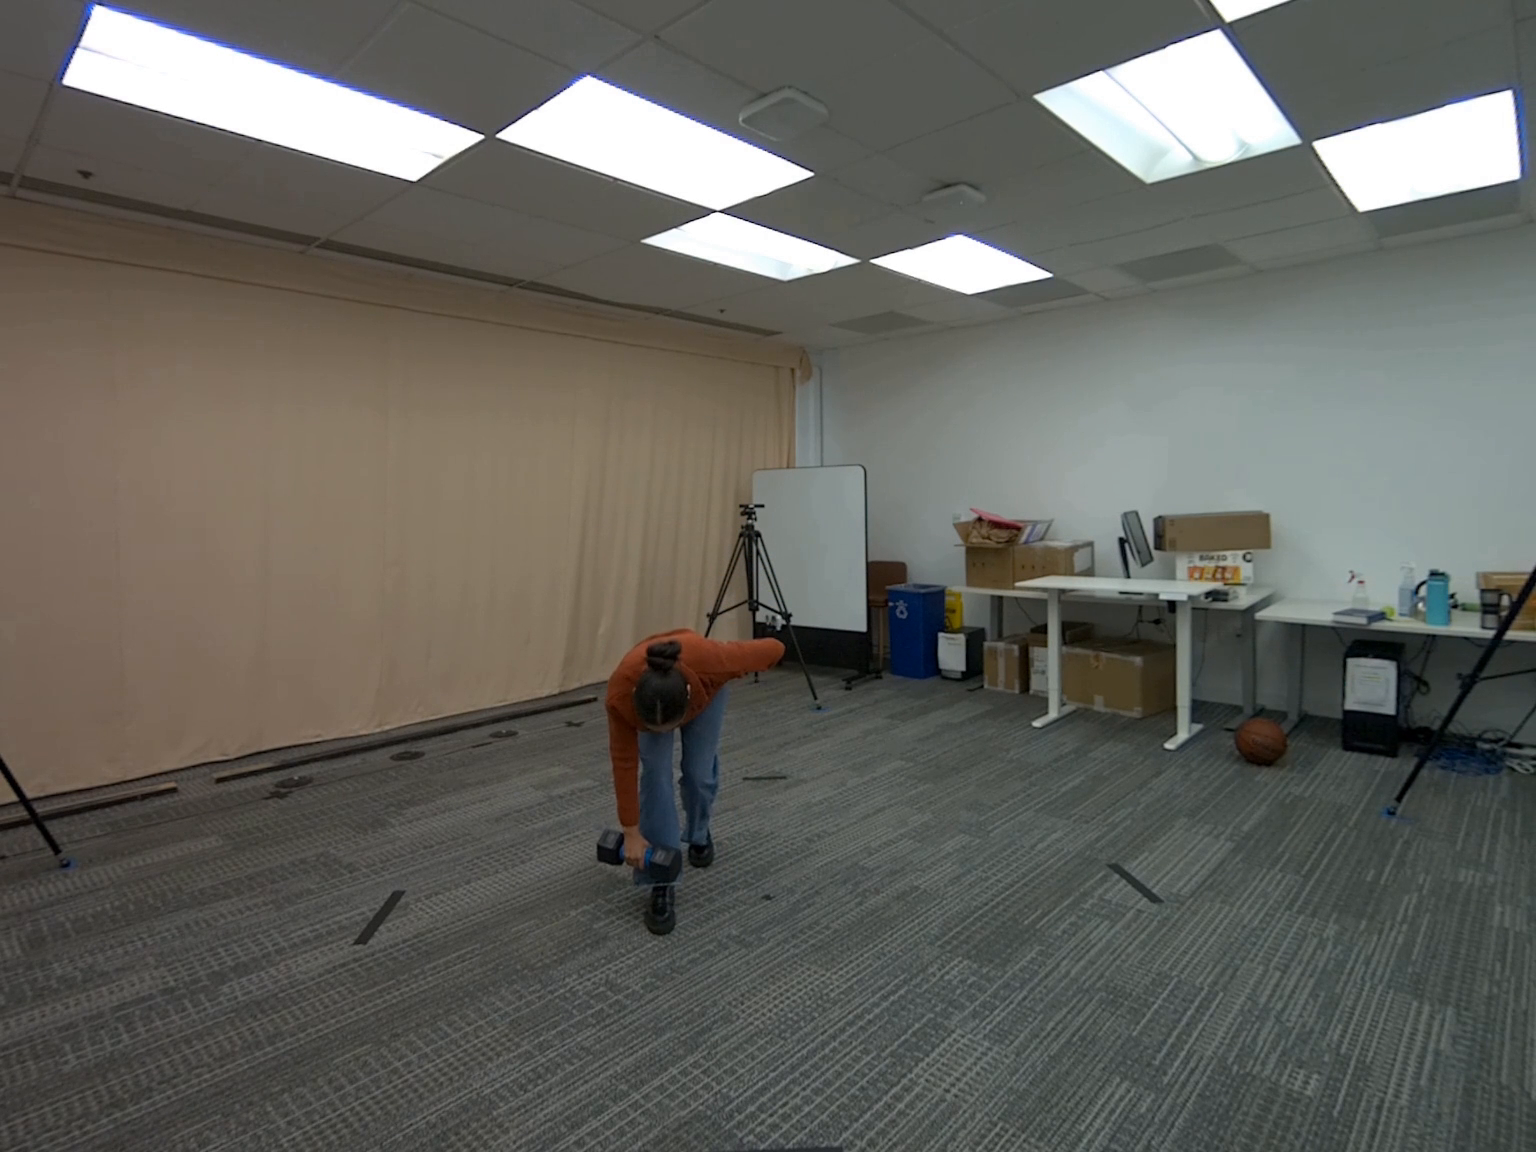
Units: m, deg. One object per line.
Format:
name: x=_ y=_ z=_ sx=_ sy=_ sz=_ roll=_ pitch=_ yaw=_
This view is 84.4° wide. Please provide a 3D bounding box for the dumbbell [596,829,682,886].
dumbbell: x=-0.440 y=0.954 z=2.866 sx=0.302 sy=0.122 sz=0.106 roll=7 pitch=10 yaw=27
